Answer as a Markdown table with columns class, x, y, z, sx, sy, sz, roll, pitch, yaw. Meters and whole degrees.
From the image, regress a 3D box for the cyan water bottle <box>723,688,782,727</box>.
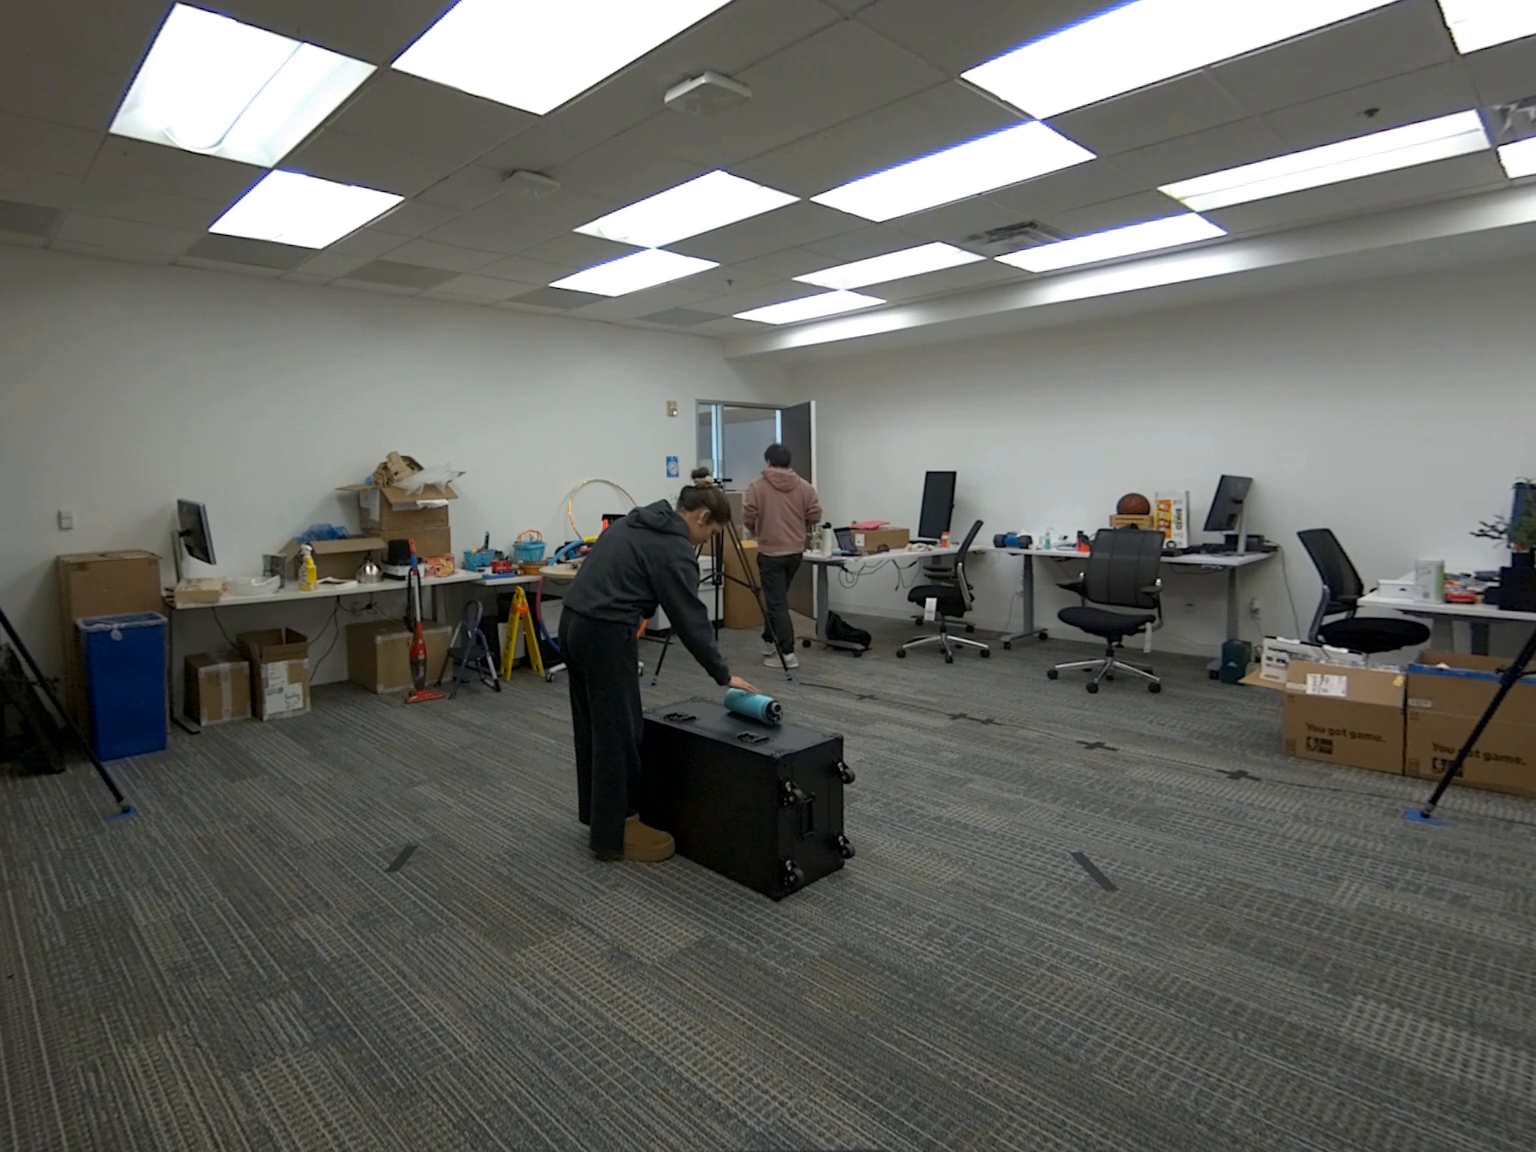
| class | x | y | z | sx | sy | sz | roll | pitch | yaw |
| --- | --- | --- | --- | --- | --- | --- | --- | --- | --- |
| cyan water bottle | -0.052 | 0.492 | 3.247 | 0.090 | 0.092 | 0.292 | -4 | 6 | -39 |
